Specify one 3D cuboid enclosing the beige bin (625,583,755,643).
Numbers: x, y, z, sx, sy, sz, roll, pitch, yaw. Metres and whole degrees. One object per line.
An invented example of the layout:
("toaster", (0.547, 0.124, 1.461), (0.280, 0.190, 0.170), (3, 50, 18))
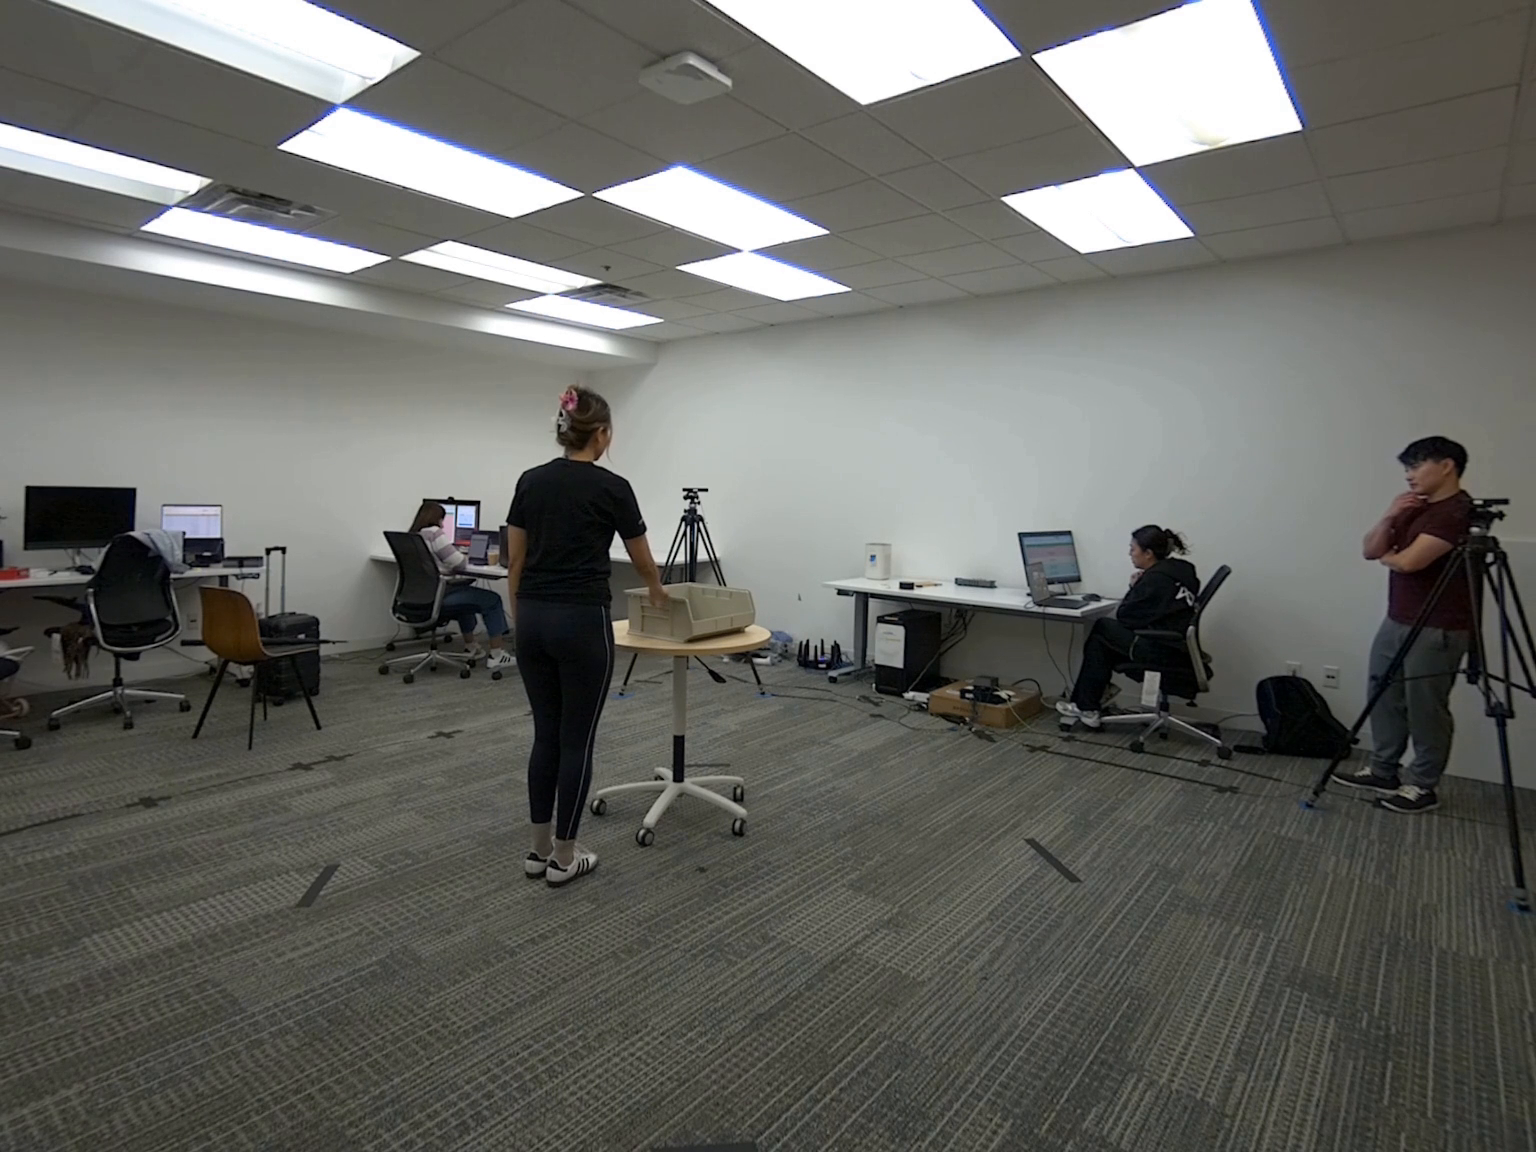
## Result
("beige bin", (-0.337, 0.148, 3.577), (0.390, 0.188, 0.410), (4, 6, 38))
